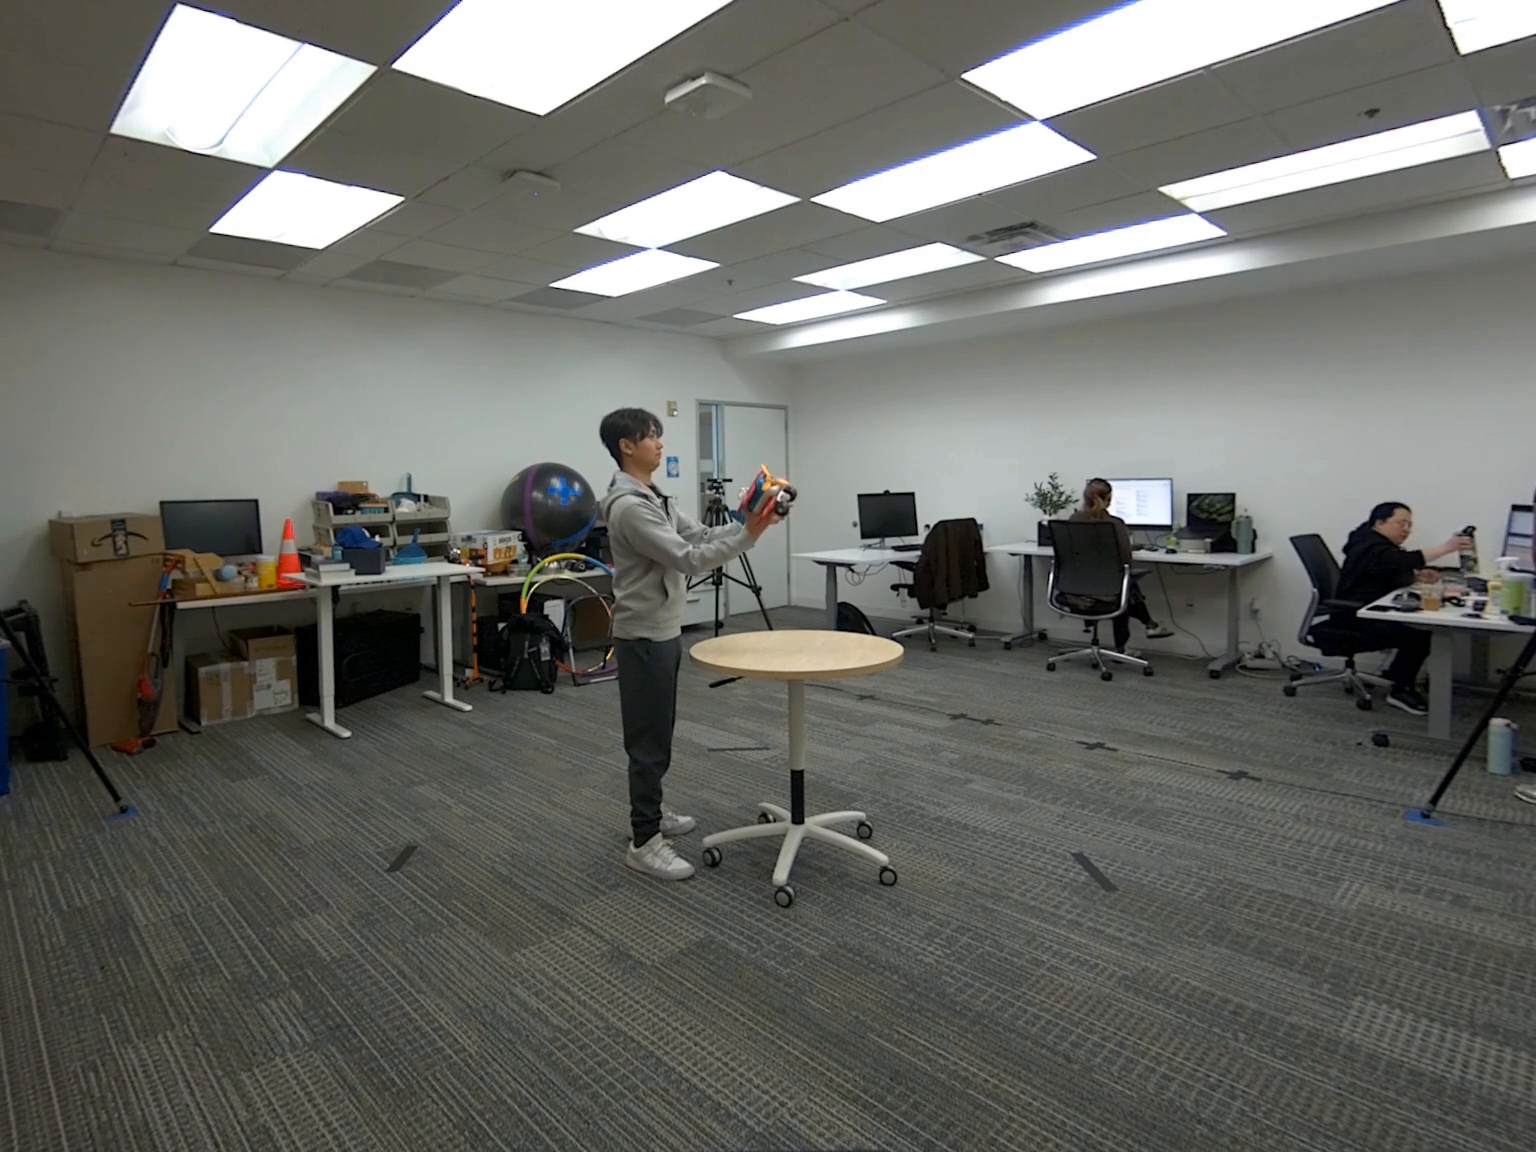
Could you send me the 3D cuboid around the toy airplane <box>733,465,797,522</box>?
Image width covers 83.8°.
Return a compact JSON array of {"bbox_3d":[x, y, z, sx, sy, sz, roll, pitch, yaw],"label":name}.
[{"bbox_3d":[-0.038,-0.226,2.963,0.154,0.259,0.255,40,15,-13],"label":"toy airplane"}]
